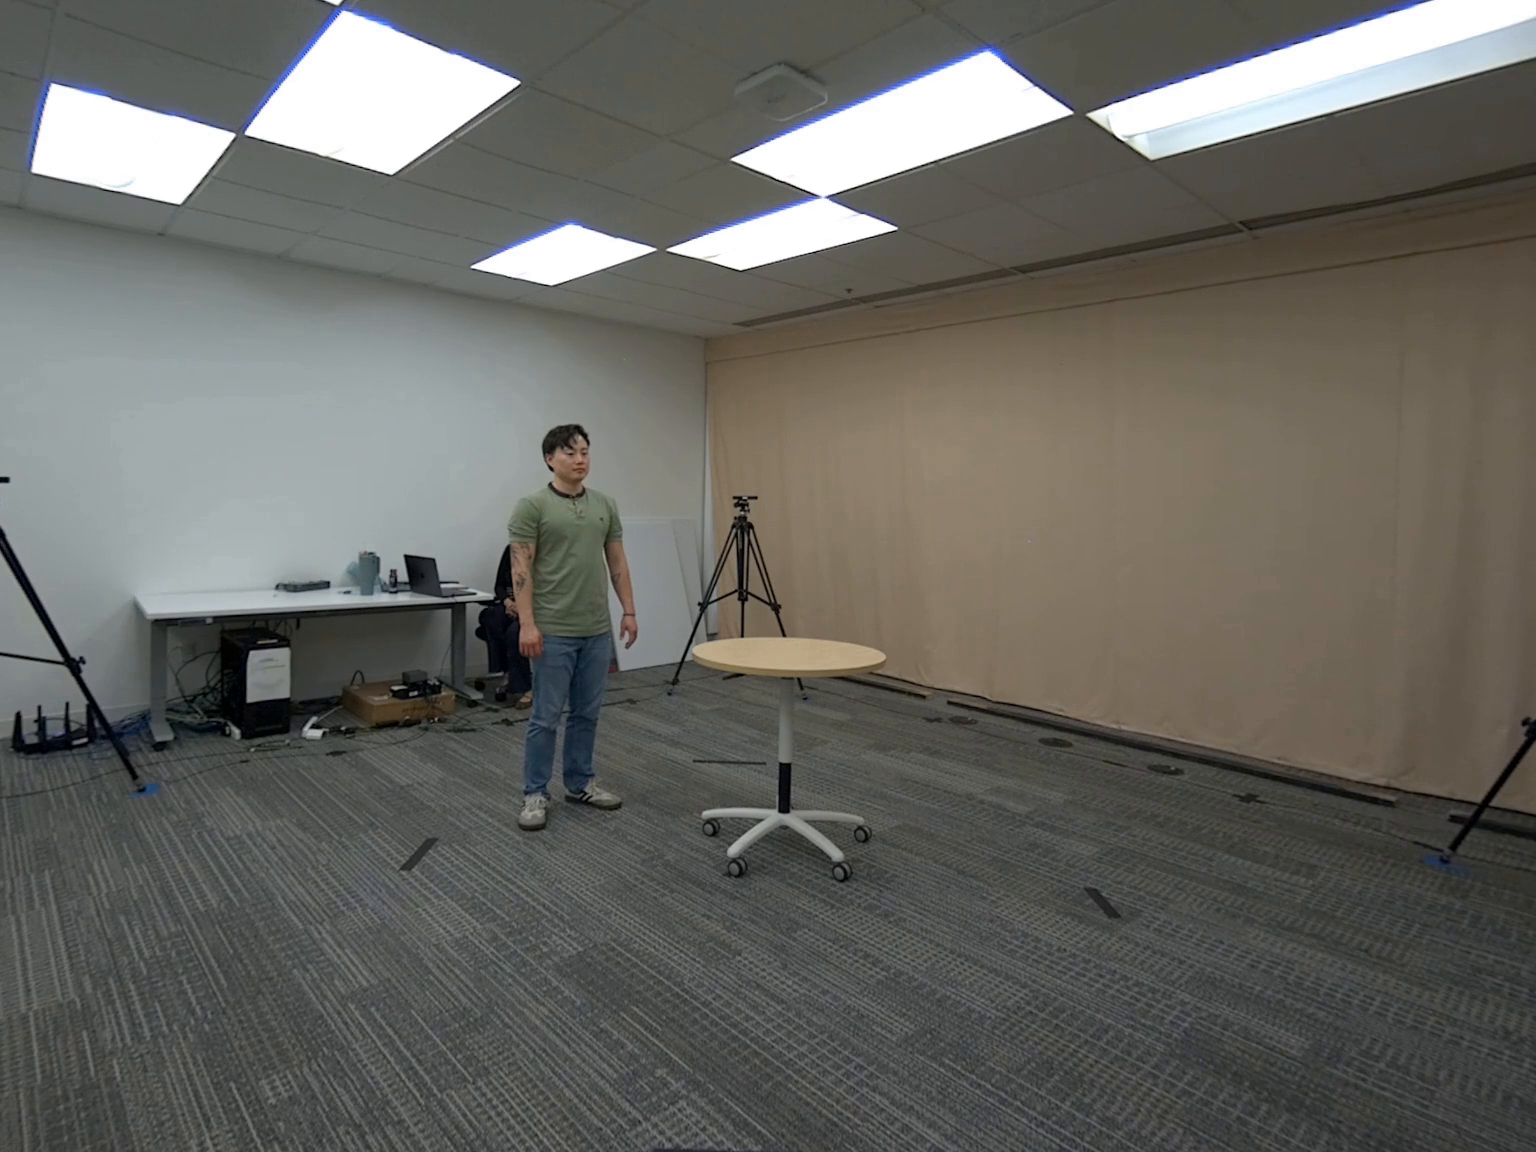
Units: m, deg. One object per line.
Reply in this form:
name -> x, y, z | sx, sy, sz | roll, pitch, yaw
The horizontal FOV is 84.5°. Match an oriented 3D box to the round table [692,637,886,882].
round table -> 0.064, 0.695, 3.349 | 0.763, 0.792, 0.766 | 1, 3, -1
